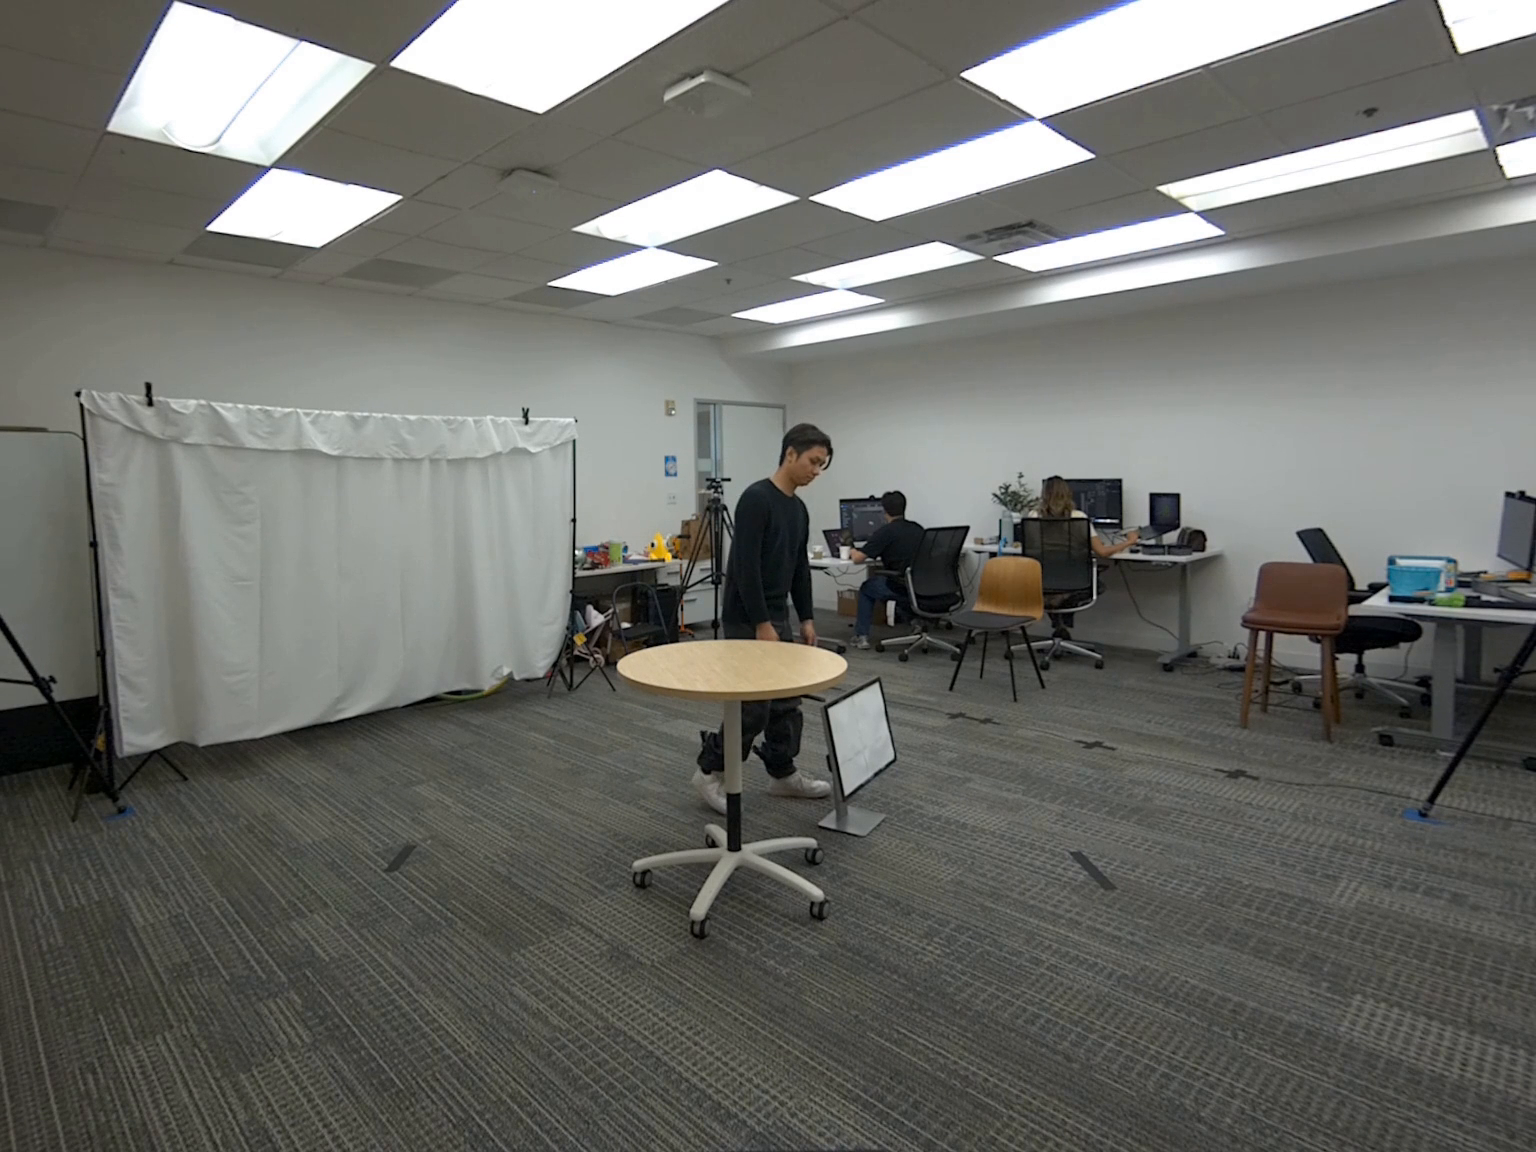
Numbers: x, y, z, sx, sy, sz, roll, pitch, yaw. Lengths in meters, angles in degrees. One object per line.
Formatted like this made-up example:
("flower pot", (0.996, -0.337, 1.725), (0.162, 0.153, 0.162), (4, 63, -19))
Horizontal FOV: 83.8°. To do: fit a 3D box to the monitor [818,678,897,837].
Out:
("monitor", (0.341, 0.730, 3.447), (0.192, 0.520, 0.527), (3, 6, 28))
